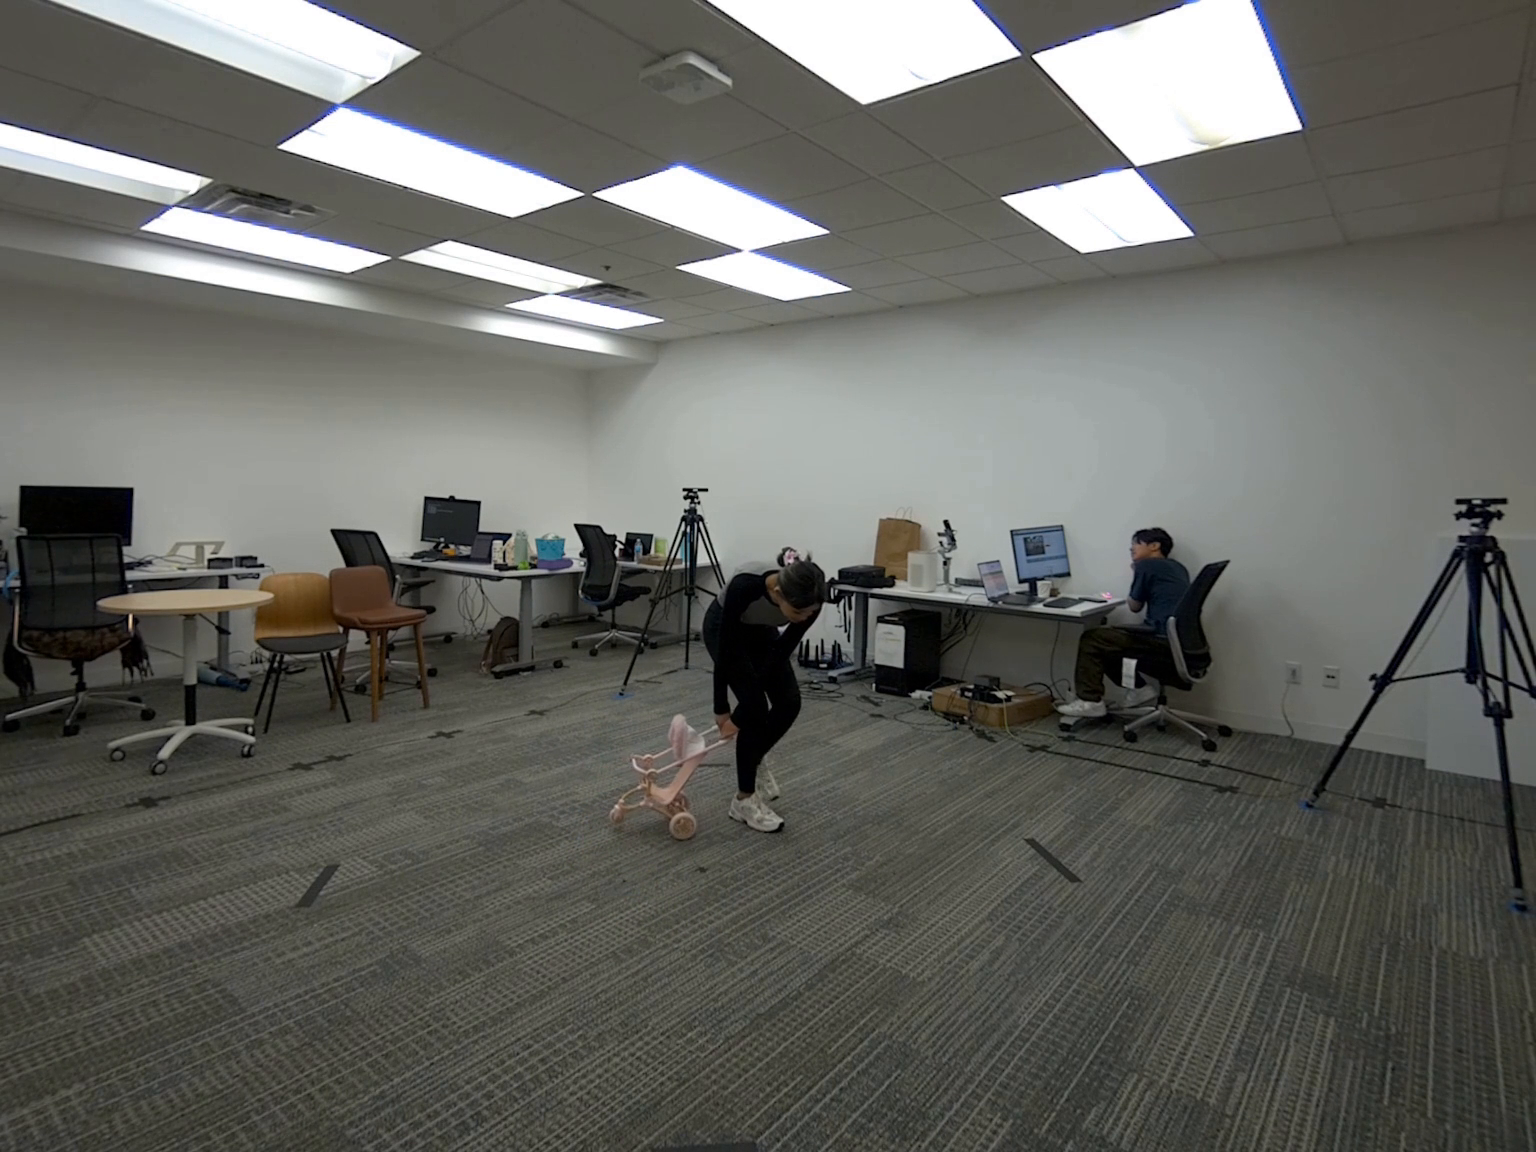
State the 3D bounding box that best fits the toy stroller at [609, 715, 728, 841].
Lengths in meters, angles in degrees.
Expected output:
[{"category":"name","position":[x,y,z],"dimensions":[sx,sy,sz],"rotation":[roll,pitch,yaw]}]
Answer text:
[{"category":"toy stroller","position":[-0.419,0.805,3.483],"dimensions":[0.339,0.535,0.284],"rotation":[21,0,-6]}]
